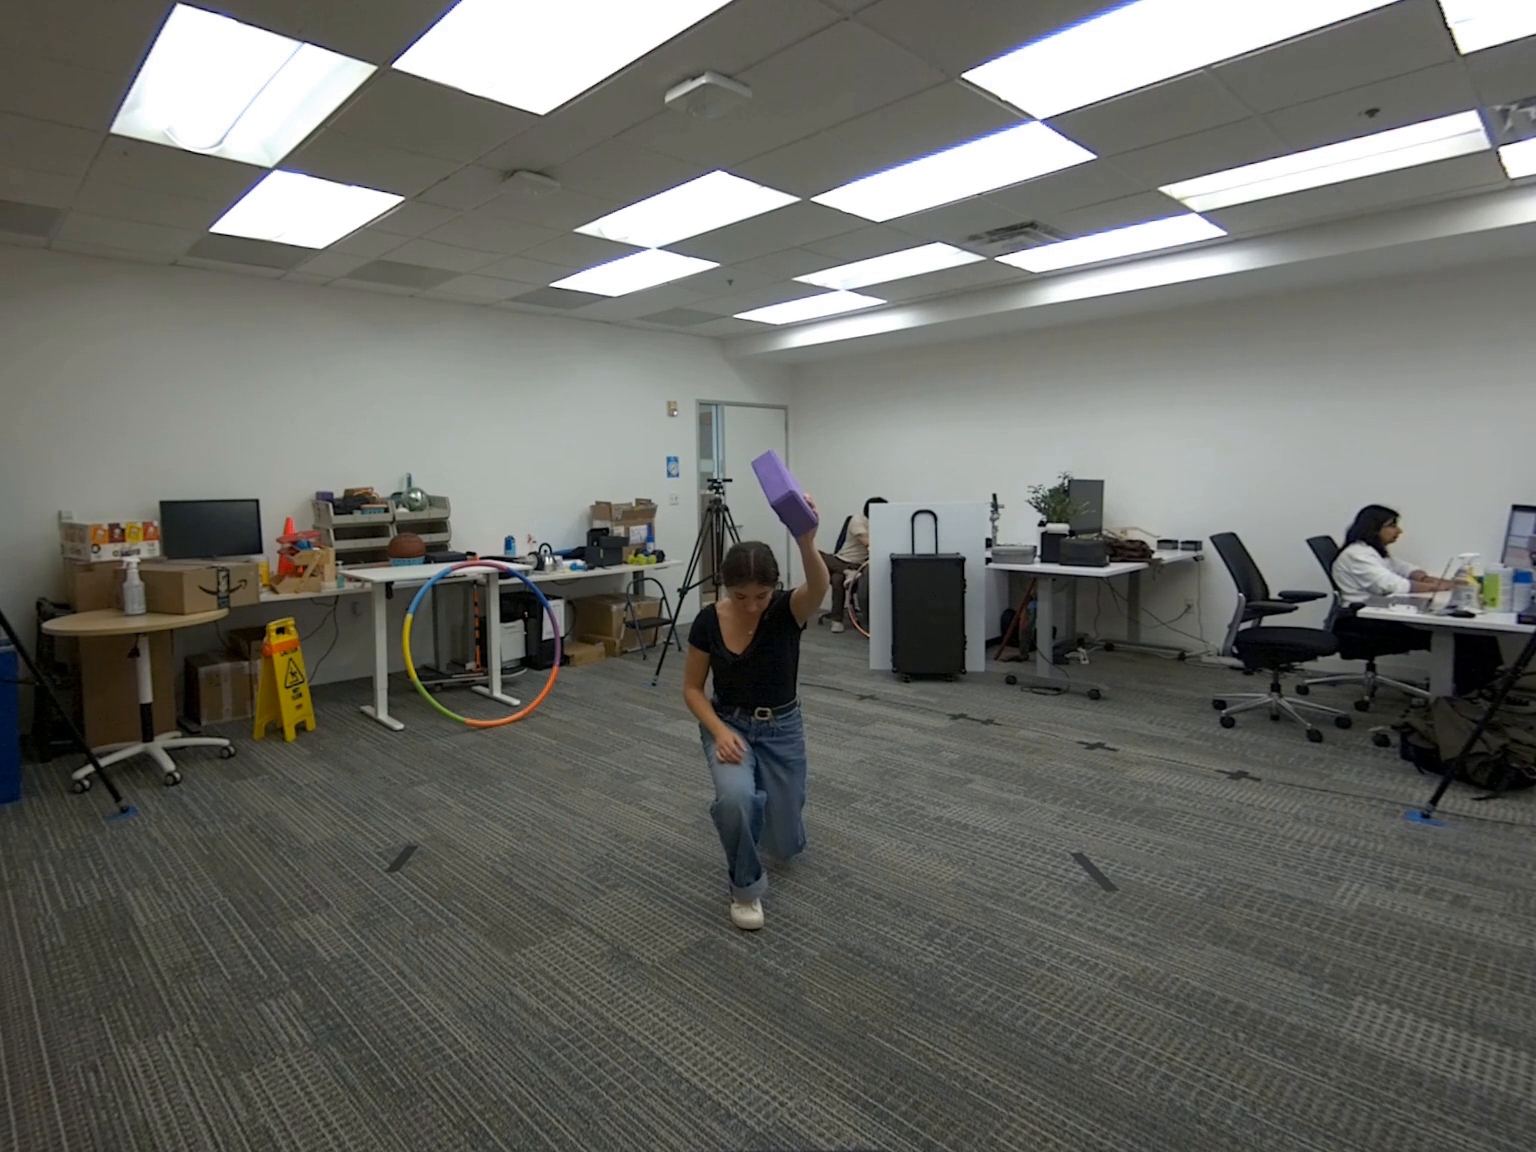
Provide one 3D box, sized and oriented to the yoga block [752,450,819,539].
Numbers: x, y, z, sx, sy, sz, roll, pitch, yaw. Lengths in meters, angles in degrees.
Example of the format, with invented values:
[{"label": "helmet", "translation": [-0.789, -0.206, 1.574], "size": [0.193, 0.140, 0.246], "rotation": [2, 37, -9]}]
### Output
[{"label": "yoga block", "translation": [0.048, -0.225, 2.339], "size": [0.076, 0.143, 0.237], "rotation": [-33, 39, 10]}]
